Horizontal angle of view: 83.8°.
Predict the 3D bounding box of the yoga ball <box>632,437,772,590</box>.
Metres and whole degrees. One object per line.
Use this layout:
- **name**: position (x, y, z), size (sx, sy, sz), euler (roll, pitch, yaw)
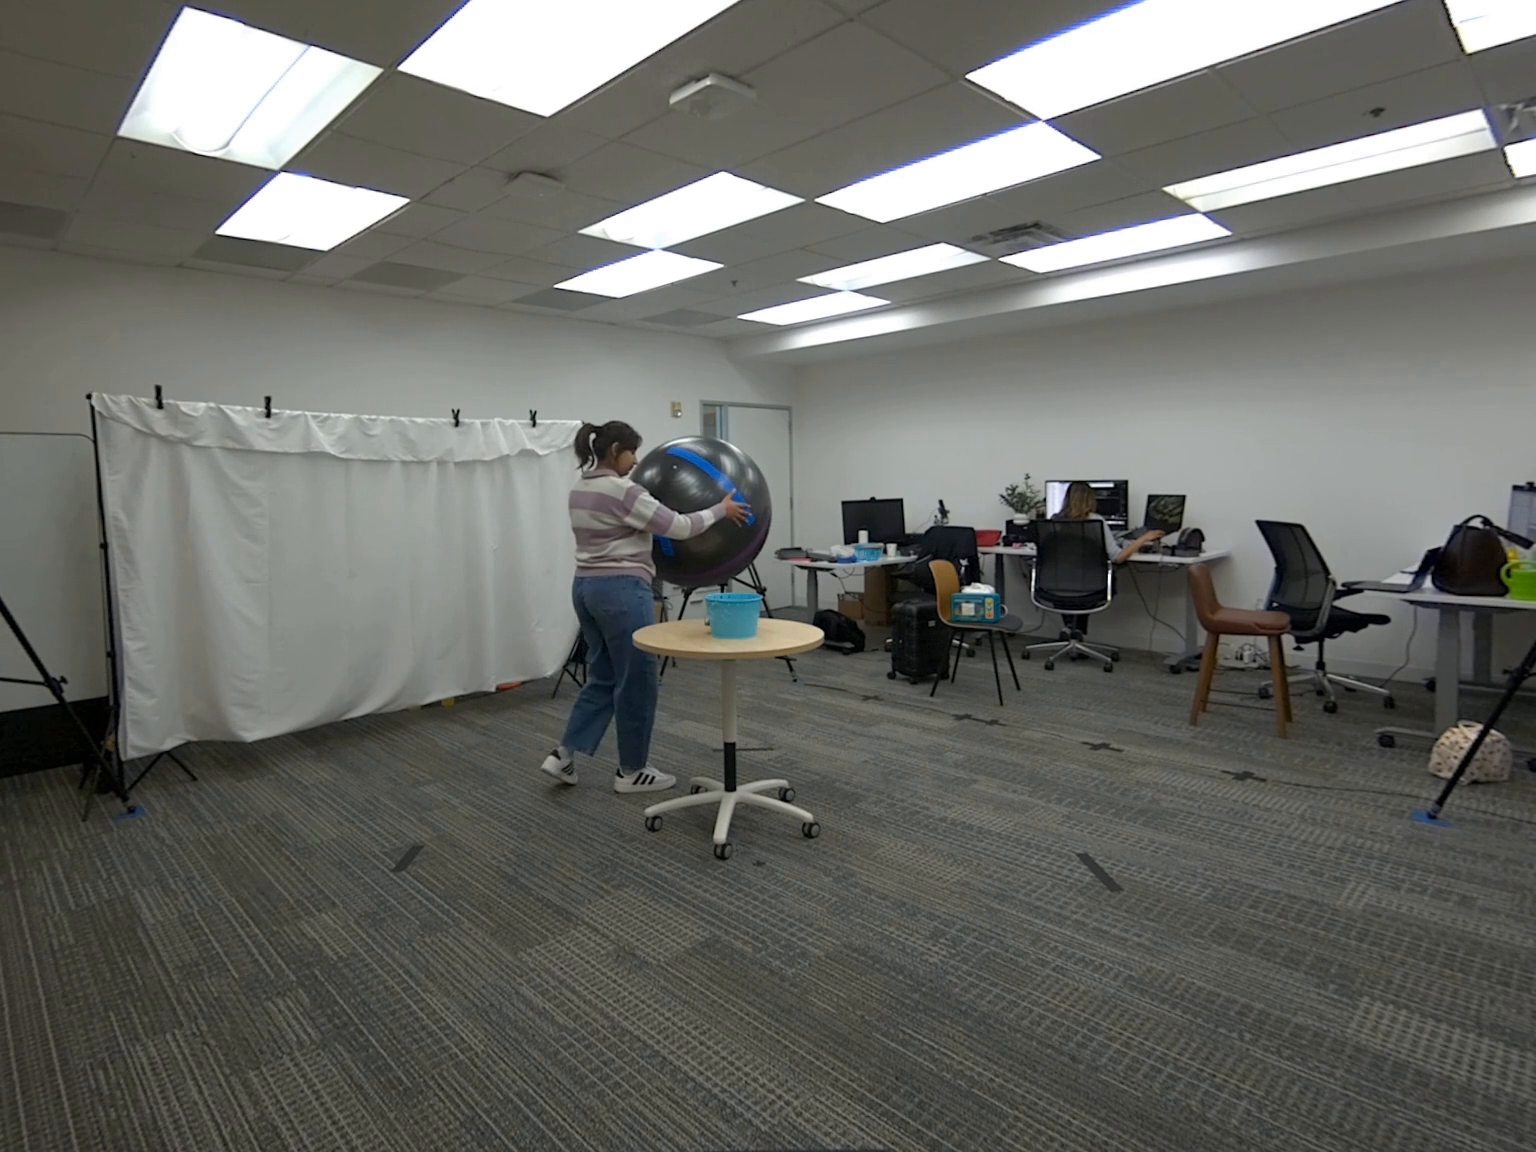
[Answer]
- **yoga ball**: position (-0.368, -0.312, 4.294), size (0.757, 0.755, 0.762), euler (-1, 5, -2)
